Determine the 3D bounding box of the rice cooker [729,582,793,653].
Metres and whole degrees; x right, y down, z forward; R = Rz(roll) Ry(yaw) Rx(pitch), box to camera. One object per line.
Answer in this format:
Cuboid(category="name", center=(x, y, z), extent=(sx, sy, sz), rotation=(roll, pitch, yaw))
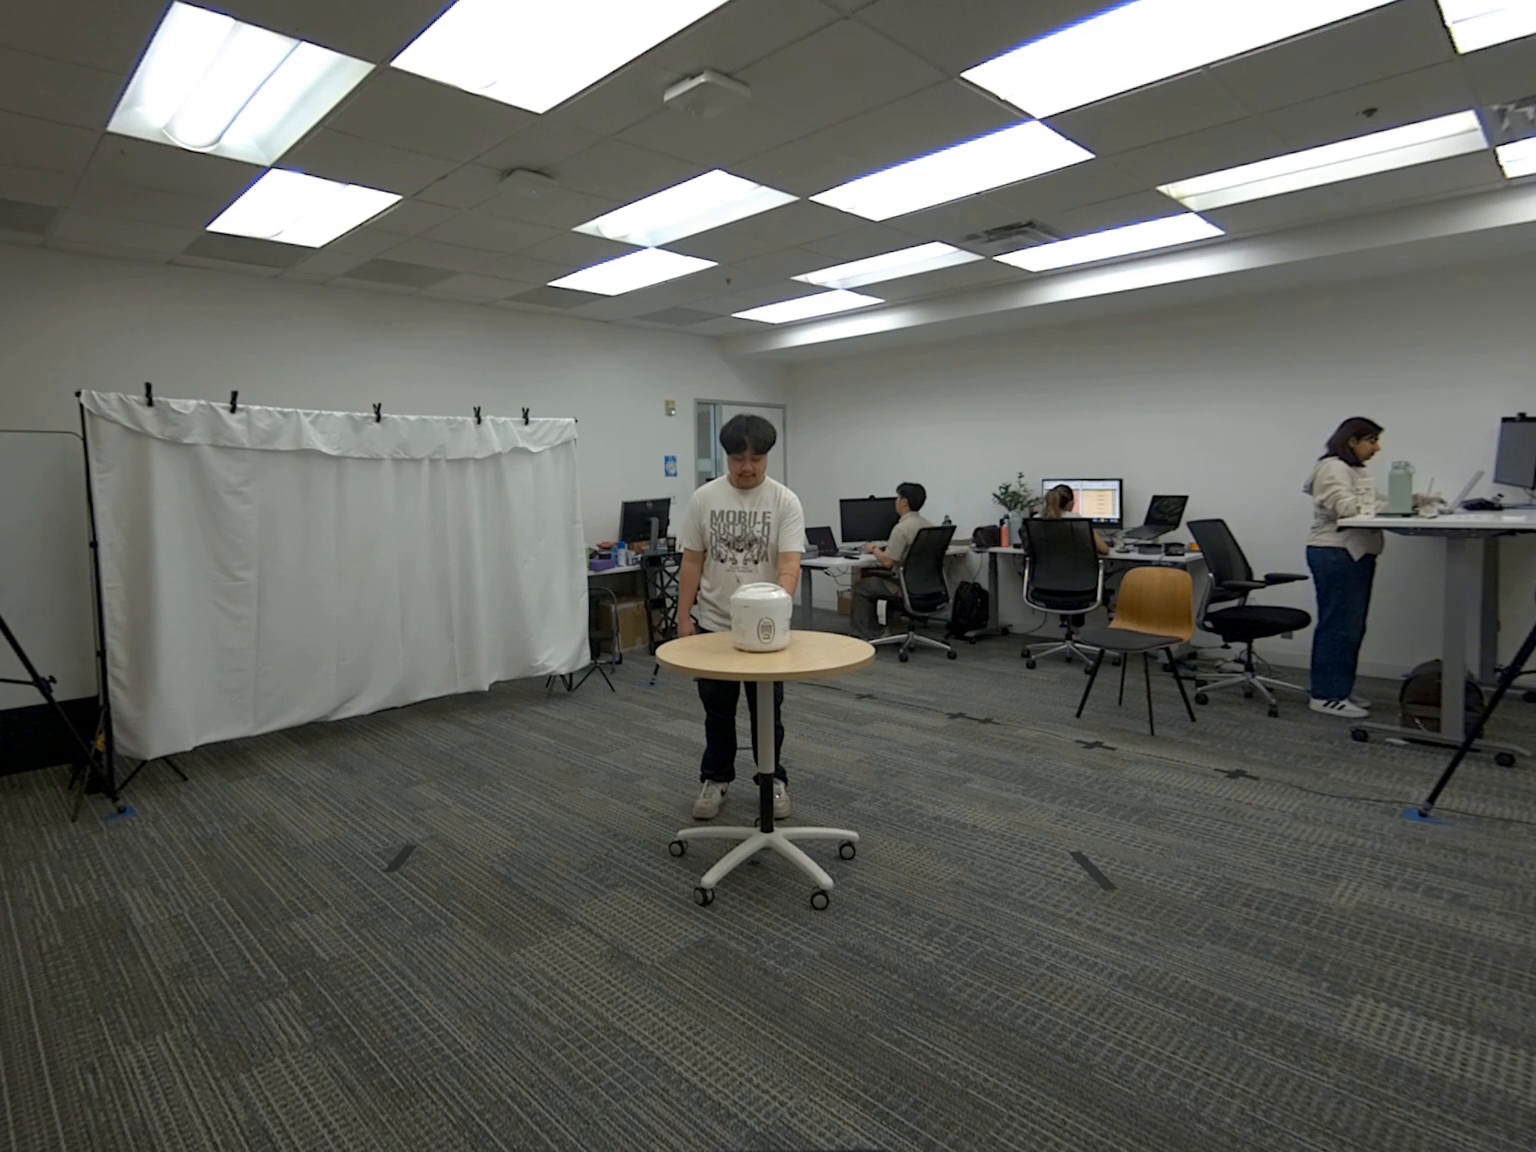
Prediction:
Cuboid(category="rice cooker", center=(-0.027, 0.139, 3.010), extent=(0.219, 0.232, 0.220), rotation=(-2, 5, -9))
